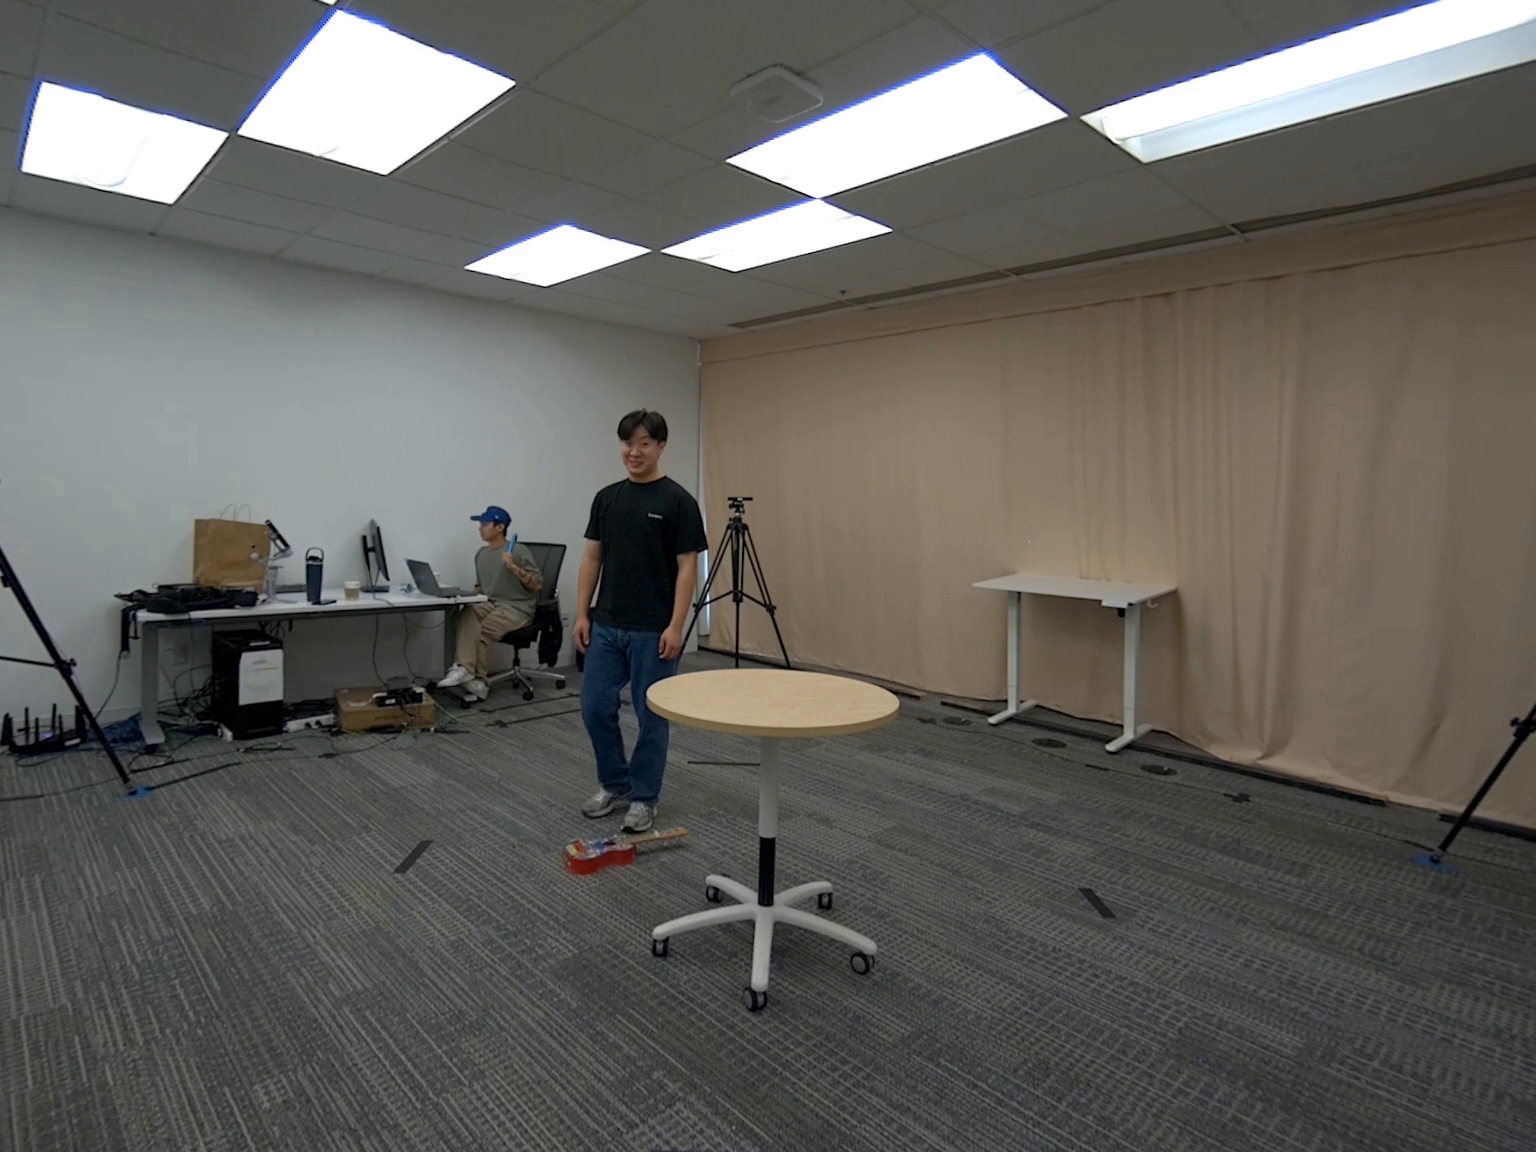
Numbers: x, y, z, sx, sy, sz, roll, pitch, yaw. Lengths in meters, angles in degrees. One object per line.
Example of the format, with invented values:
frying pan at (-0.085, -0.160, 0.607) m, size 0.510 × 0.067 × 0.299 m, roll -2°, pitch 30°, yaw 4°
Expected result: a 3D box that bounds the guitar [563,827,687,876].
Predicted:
guitar at (-0.544, 1.056, 3.230) m, size 0.491 × 0.070 × 0.196 m, roll -1°, pitch 5°, yaw -18°
